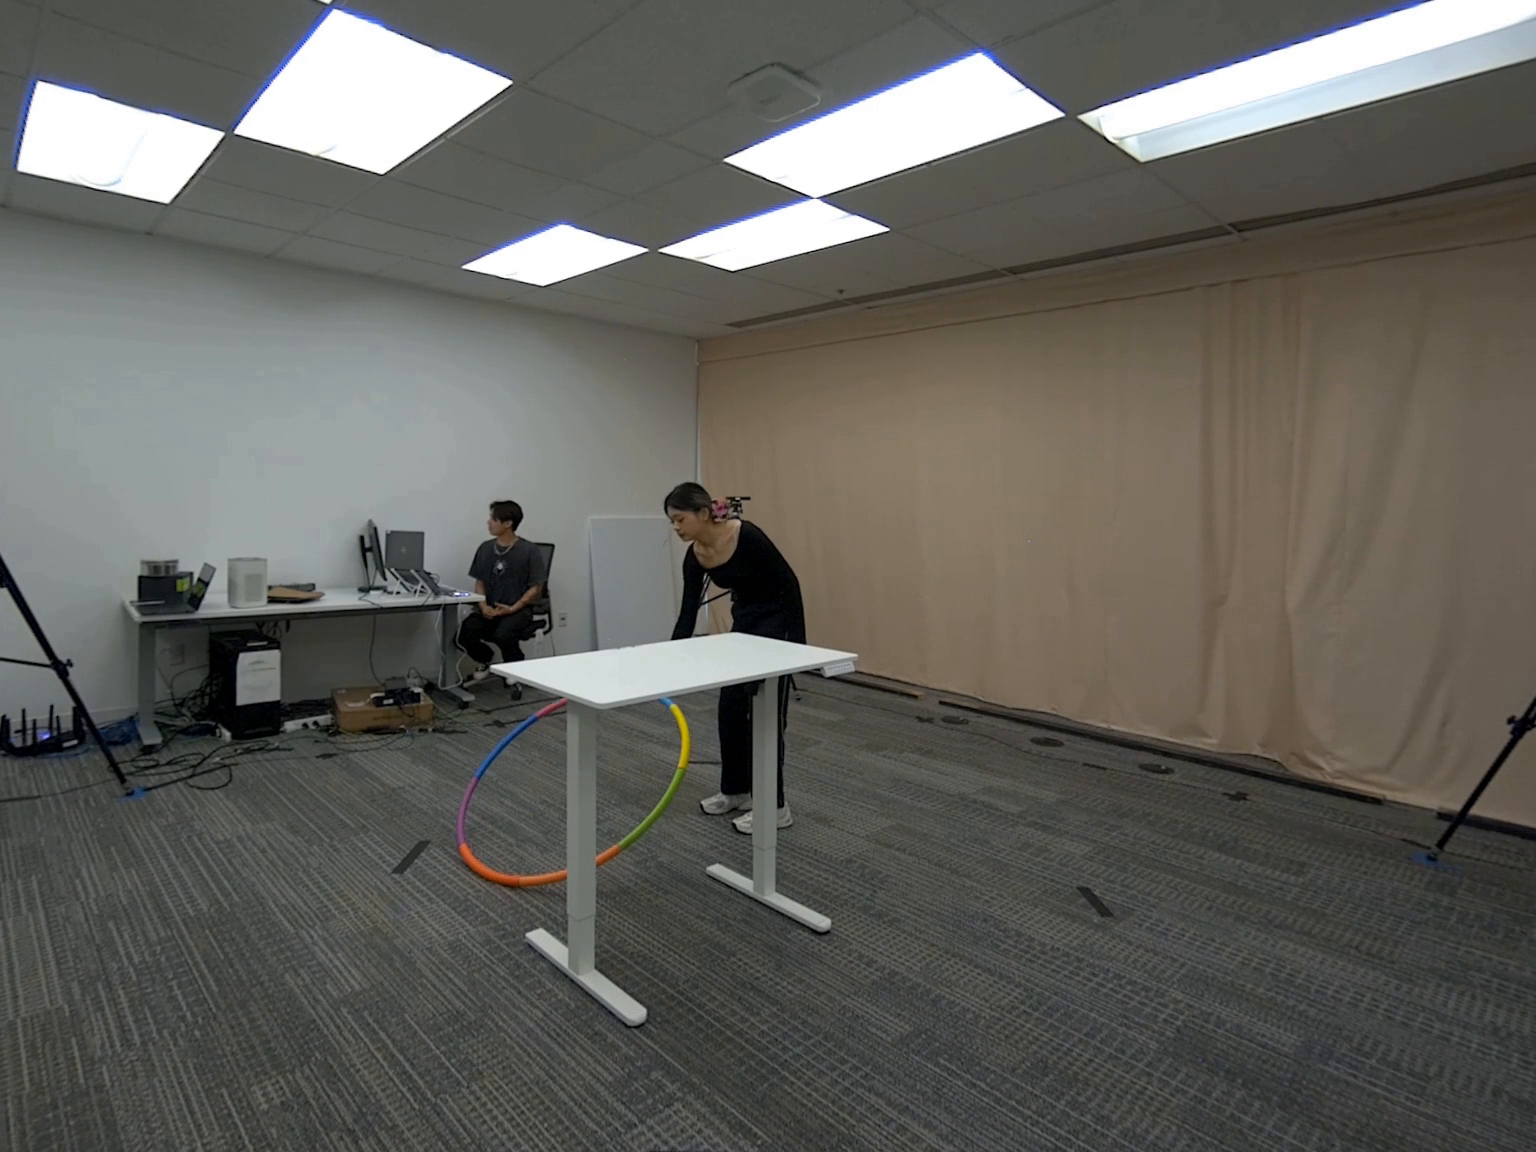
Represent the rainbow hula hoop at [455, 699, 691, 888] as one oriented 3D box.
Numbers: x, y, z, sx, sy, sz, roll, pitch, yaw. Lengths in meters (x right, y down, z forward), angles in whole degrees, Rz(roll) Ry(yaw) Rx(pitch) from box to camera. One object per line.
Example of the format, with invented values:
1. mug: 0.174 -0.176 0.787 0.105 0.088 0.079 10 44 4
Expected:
1. rainbow hula hoop: -0.797 0.798 3.344 0.983 0.034 0.999 -16 32 8
